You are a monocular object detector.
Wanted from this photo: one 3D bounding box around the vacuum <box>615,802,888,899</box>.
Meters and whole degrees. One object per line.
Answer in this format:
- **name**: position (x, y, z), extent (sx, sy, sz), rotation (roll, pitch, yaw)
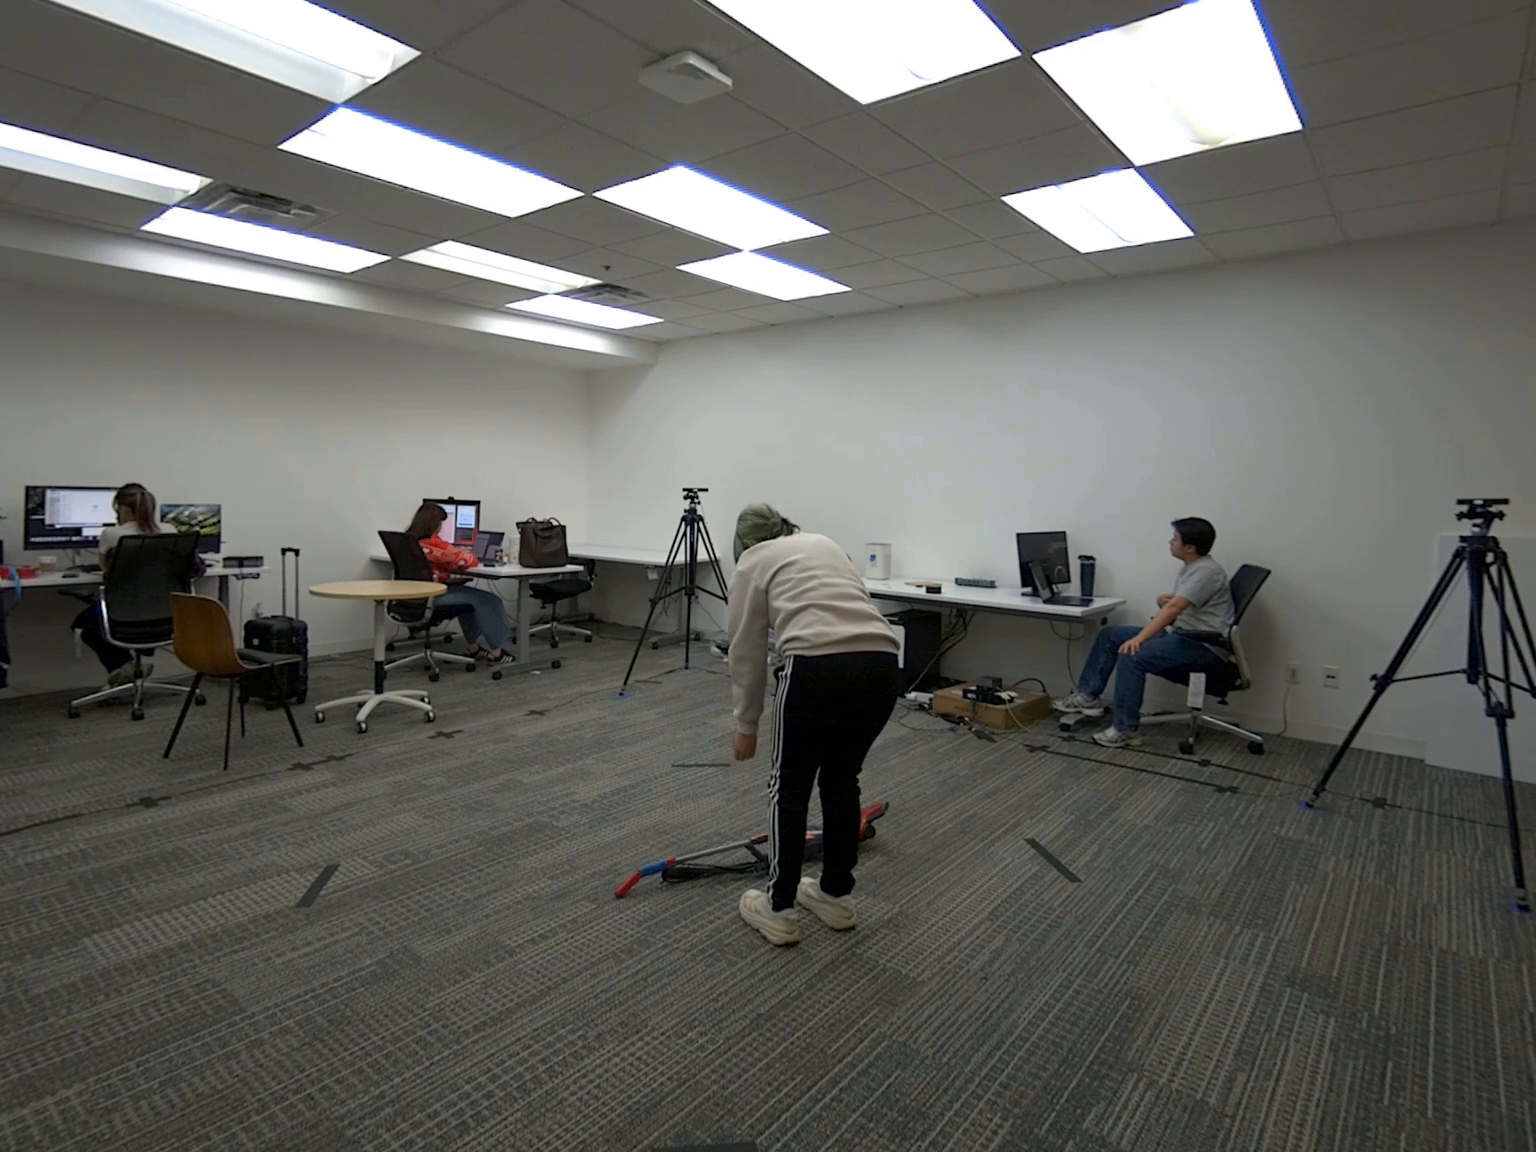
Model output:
- **vacuum**: position (-0.062, 1.022, 3.119), extent (1.025, 0.148, 0.252), rotation (-7, -23, -27)
